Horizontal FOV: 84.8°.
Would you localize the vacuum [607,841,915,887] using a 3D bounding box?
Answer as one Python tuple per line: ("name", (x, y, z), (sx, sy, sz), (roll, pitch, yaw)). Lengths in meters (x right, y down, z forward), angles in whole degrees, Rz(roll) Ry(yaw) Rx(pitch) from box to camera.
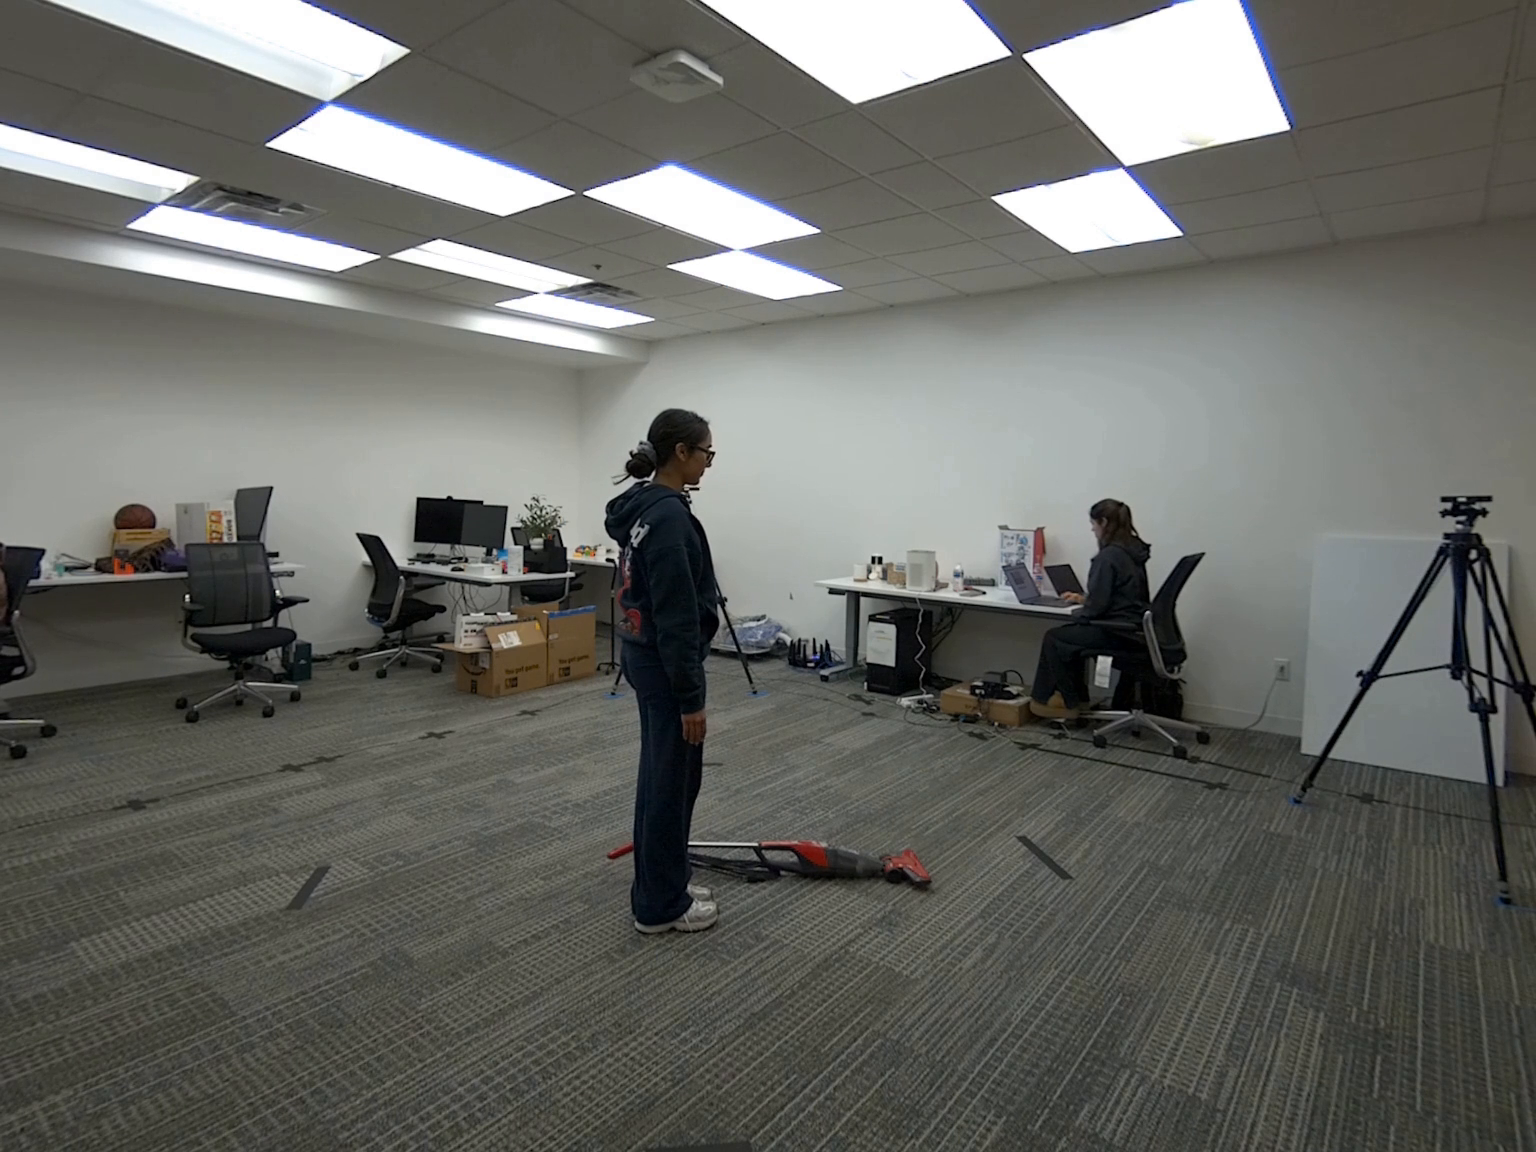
("vacuum", (-0.054, 1.014, 3.064), (1.046, 0.143, 0.255), (2, 10, -3))
